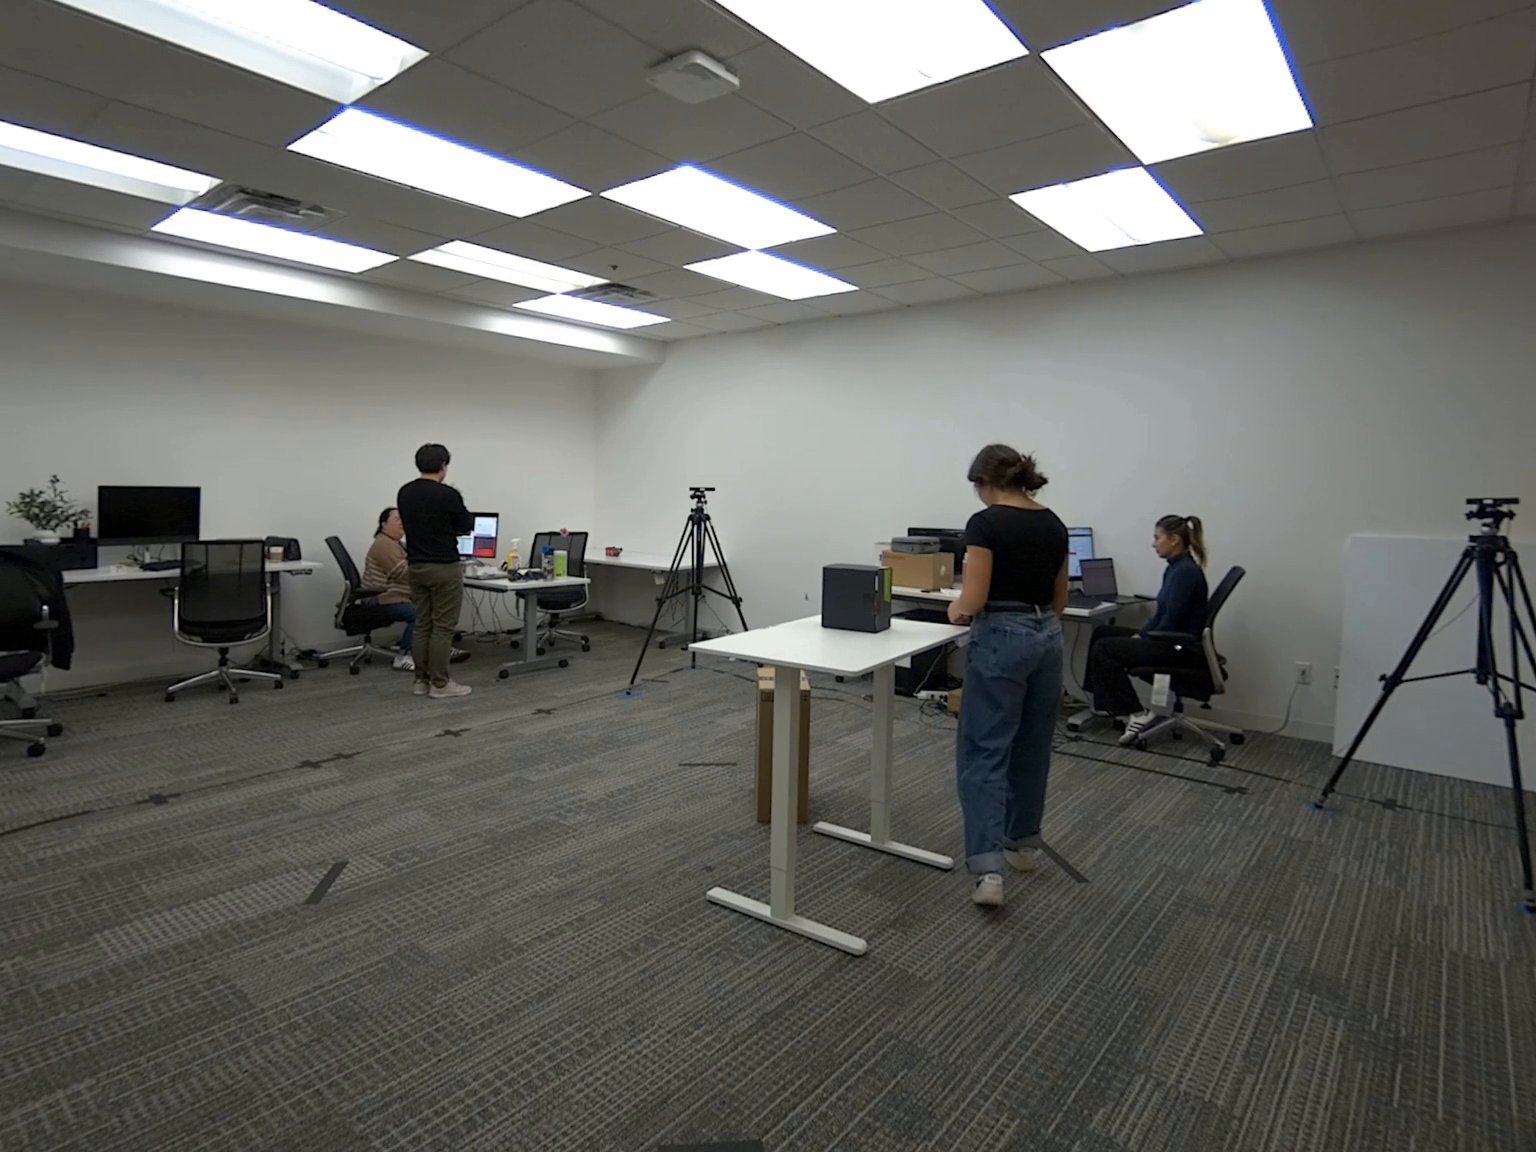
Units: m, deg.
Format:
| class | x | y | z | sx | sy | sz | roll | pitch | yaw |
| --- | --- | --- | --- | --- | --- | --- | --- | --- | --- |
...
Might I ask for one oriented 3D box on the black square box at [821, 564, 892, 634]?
| class | x | y | z | sx | sy | sz | roll | pitch | yaw |
| --- | --- | --- | --- | --- | --- | --- | --- | --- | --- |
| black square box | 0.333 | 0.076 | 3.146 | 0.224 | 0.227 | 0.151 | 4 | 5 | 38 |
